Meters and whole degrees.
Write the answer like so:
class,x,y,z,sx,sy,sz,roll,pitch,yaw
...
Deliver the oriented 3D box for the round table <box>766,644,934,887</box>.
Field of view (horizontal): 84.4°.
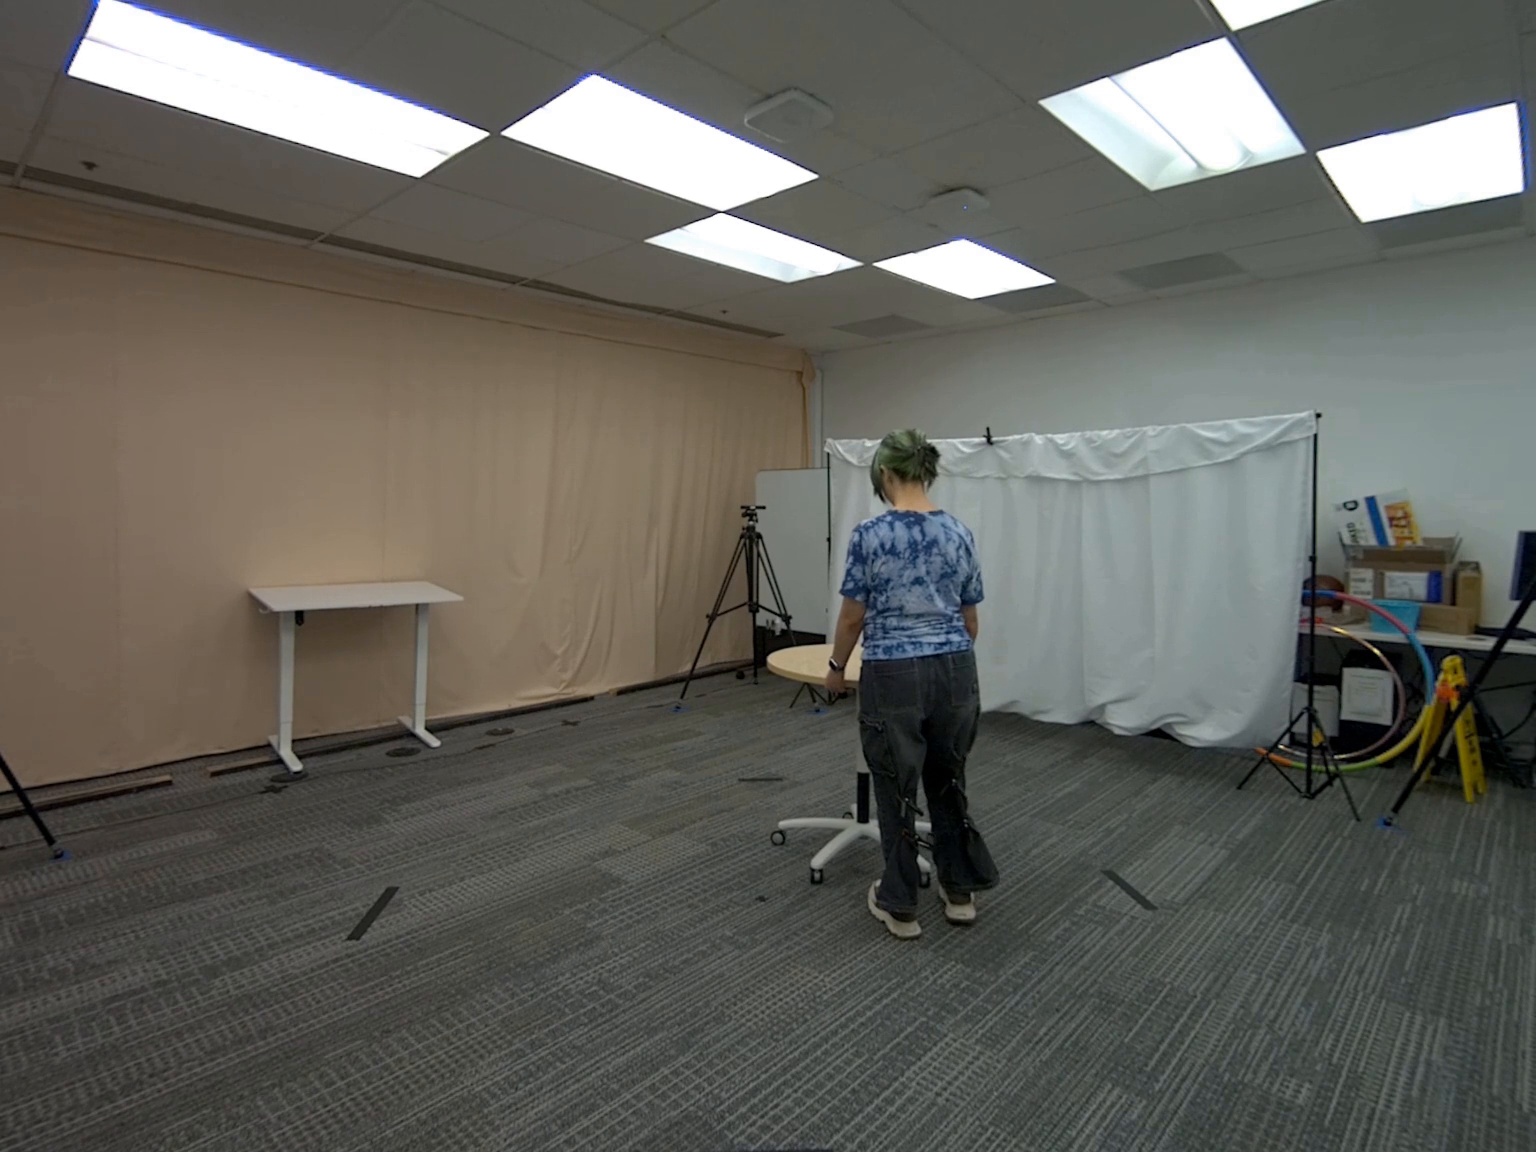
class,x,y,z,sx,sy,sz,roll,pitch,yaw
round table,0.368,0.724,3.323,0.763,0.792,0.767,0,4,-2
